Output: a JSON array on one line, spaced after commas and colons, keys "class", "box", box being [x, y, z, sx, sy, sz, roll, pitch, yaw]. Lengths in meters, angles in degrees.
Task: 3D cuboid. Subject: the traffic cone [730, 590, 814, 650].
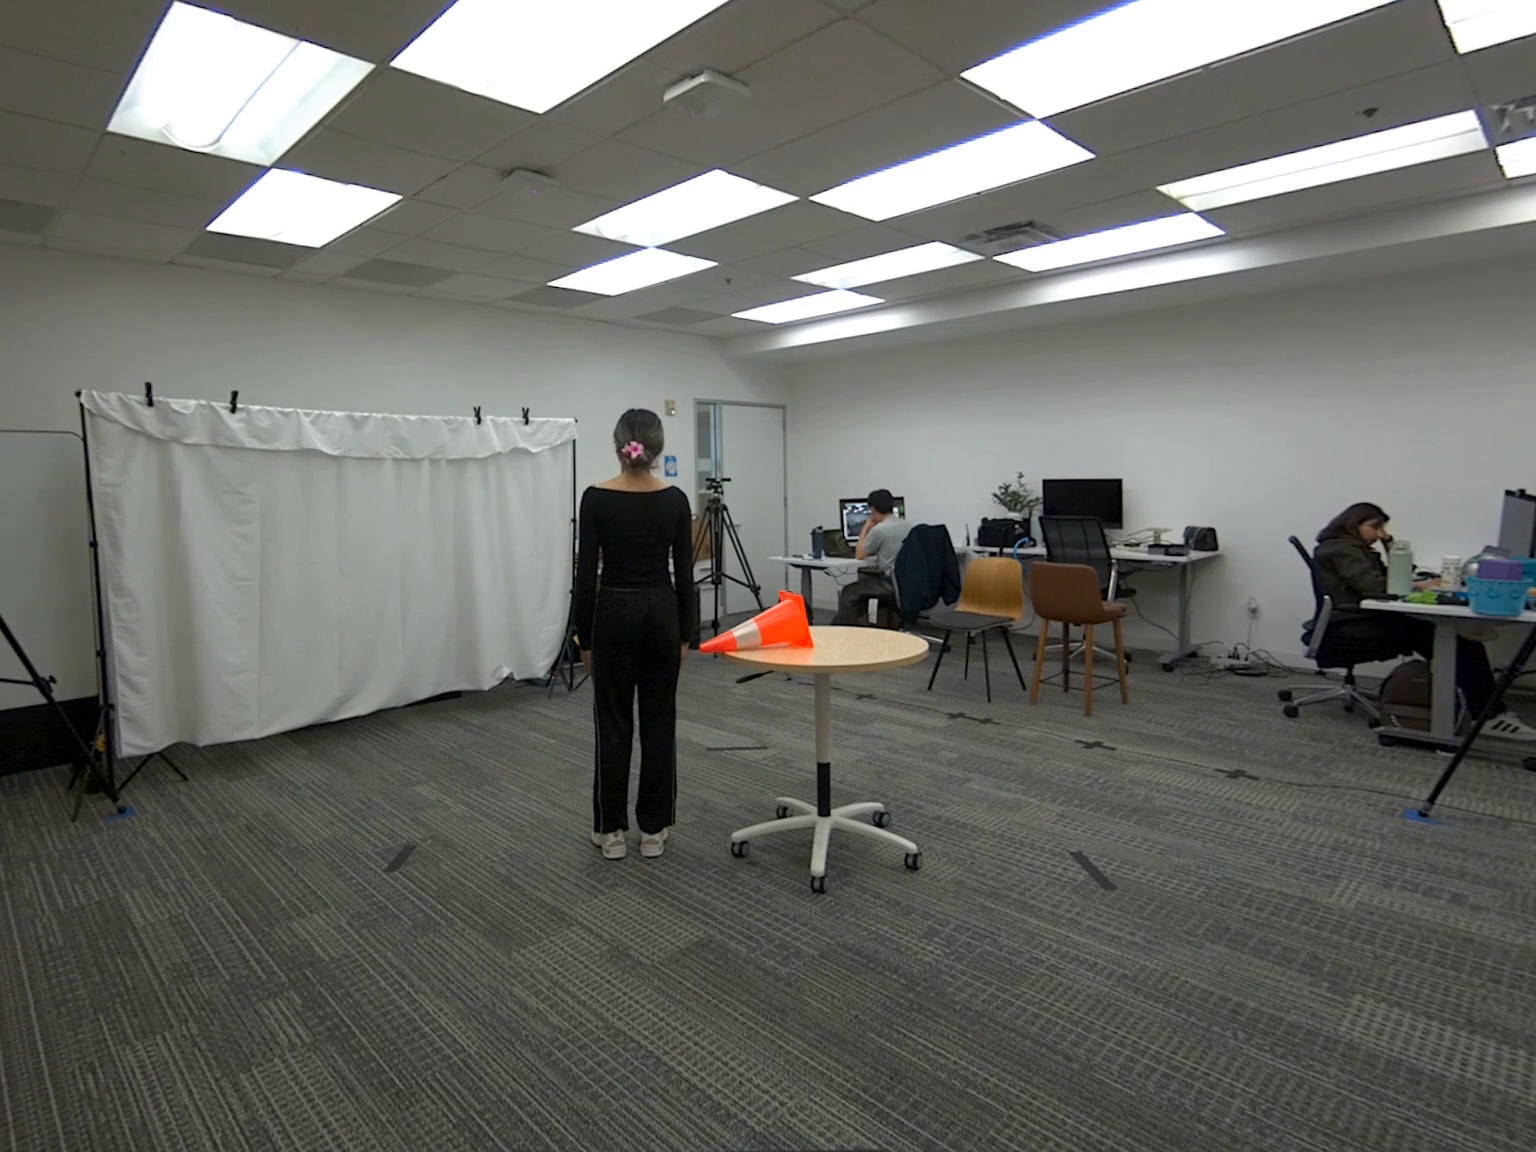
[{"class": "traffic cone", "box": [-0.068, 0.209, 3.061, 0.379, 0.202, 0.208, -15, 6, -16]}]
